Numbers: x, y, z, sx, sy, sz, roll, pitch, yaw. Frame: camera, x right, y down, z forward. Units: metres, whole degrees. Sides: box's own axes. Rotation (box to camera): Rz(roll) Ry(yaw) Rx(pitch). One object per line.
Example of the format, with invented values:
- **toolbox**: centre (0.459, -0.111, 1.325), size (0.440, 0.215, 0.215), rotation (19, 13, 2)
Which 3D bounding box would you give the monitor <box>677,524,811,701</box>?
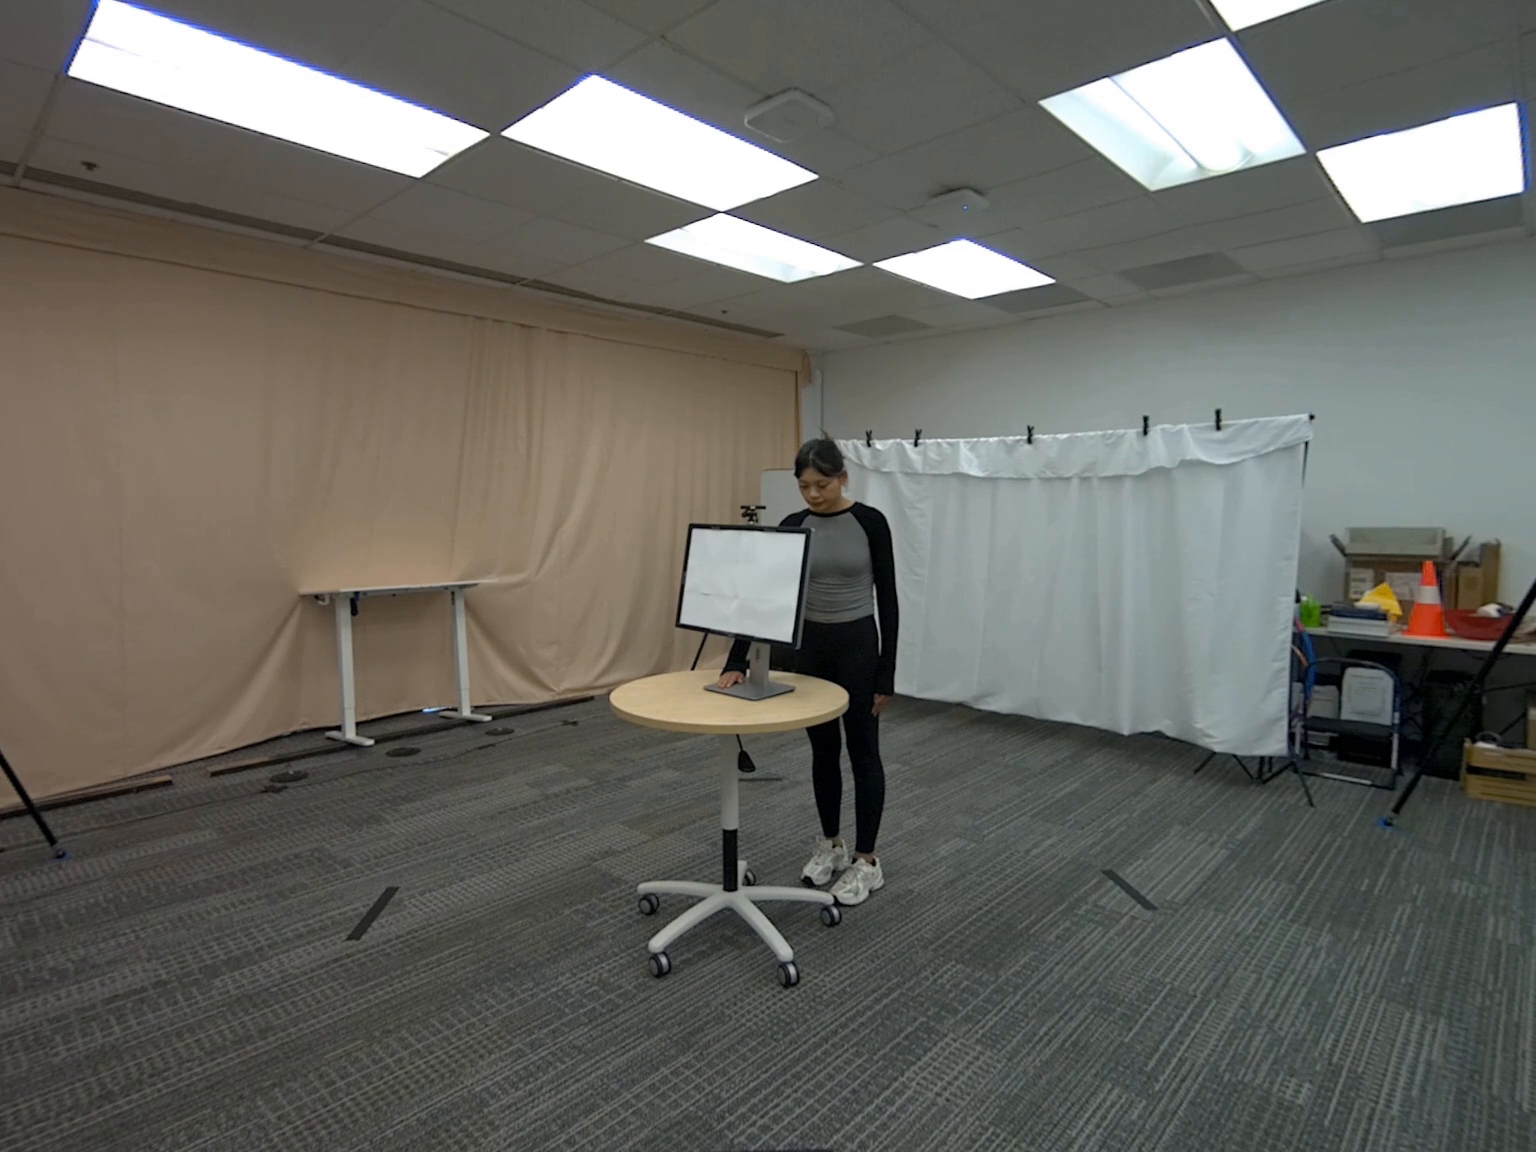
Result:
- **monitor**: centre (-0.061, 0.108, 2.743), size (0.557, 0.521, 0.181), rotation (4, 7, 44)
